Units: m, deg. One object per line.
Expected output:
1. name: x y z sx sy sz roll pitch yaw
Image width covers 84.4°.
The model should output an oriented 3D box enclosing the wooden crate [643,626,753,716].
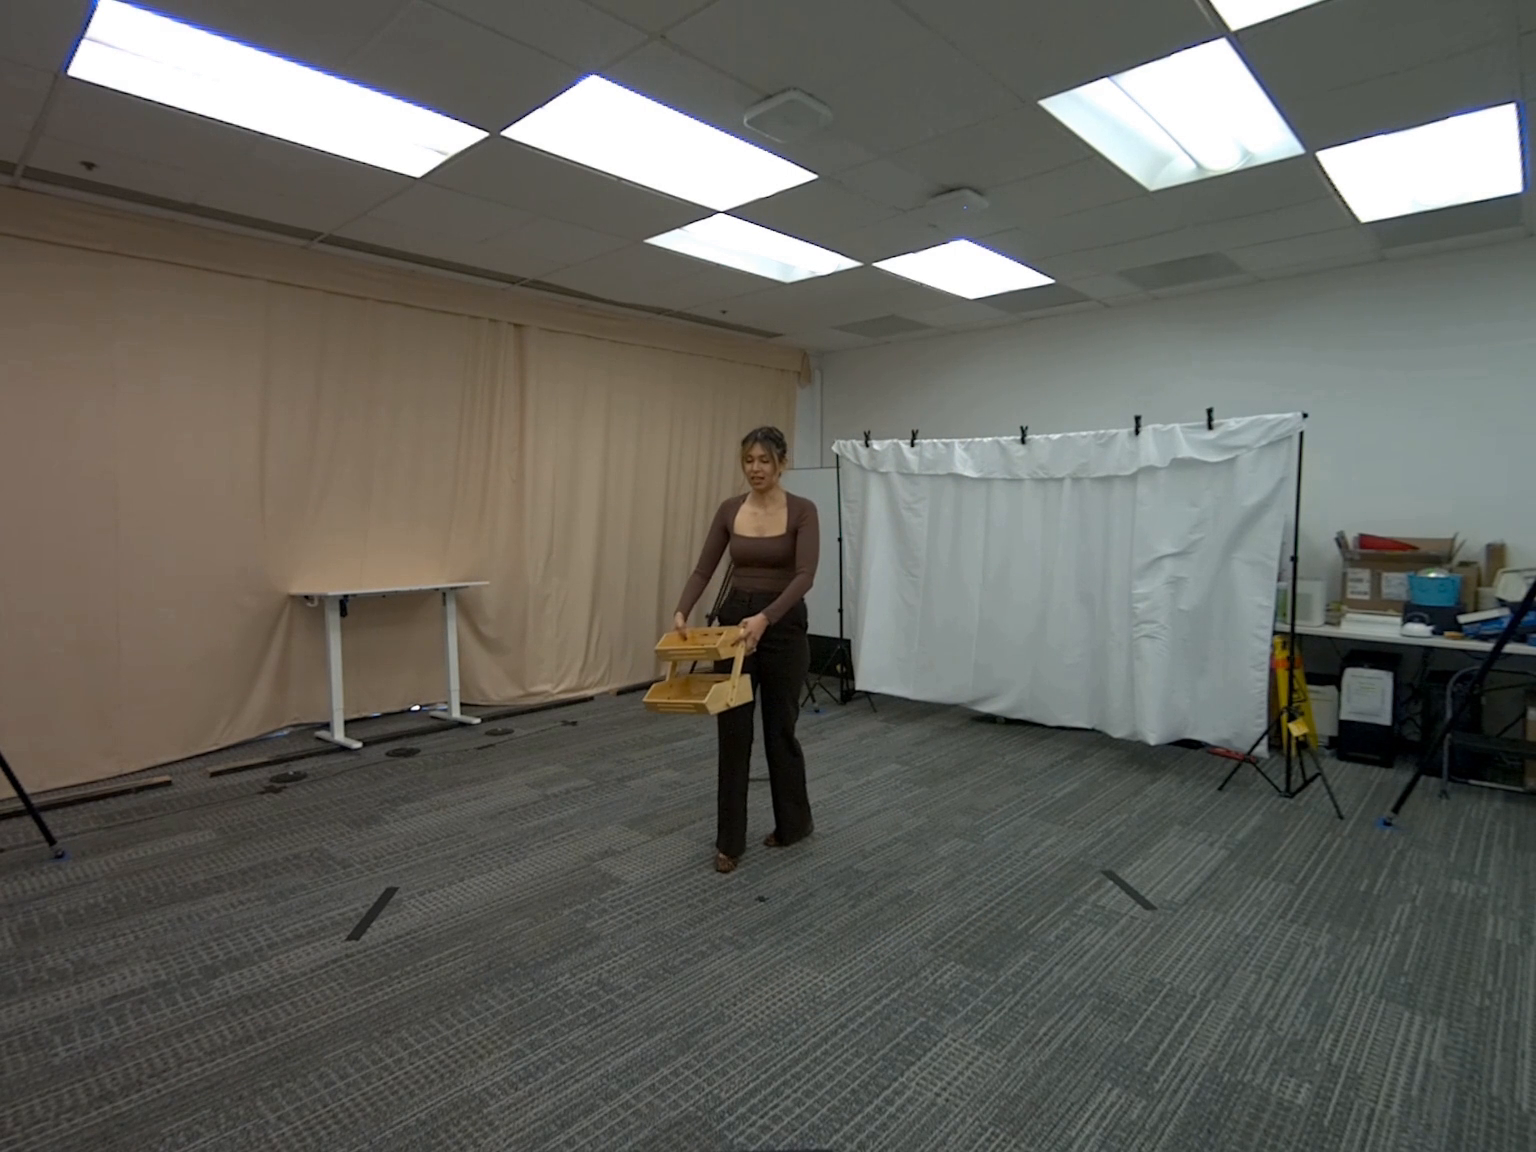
1. wooden crate: -0.249 0.327 2.999 0.334 0.273 0.293 -6 1 40
